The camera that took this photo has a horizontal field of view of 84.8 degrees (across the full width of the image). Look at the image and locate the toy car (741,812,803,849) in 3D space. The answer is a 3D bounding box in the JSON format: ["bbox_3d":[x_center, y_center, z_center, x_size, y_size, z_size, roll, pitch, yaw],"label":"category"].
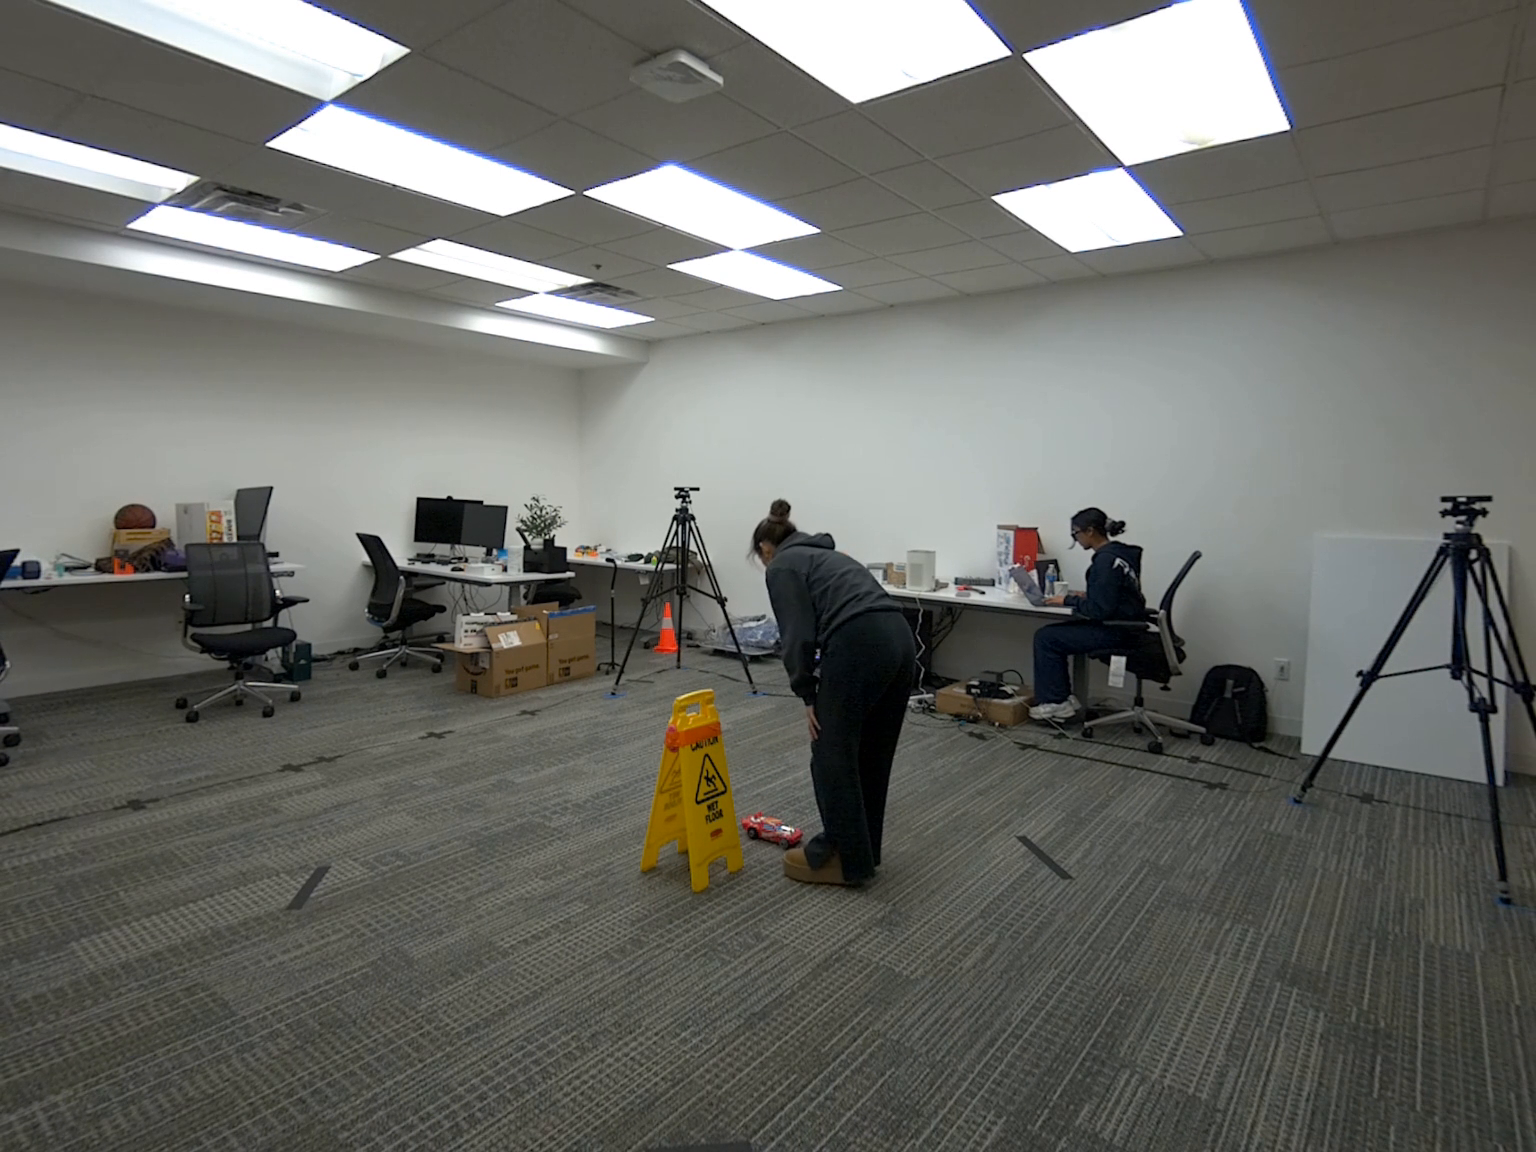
[{"bbox_3d":[0.011,1.010,3.394,0.264,0.082,0.126,18,13,33],"label":"toy car"}]
